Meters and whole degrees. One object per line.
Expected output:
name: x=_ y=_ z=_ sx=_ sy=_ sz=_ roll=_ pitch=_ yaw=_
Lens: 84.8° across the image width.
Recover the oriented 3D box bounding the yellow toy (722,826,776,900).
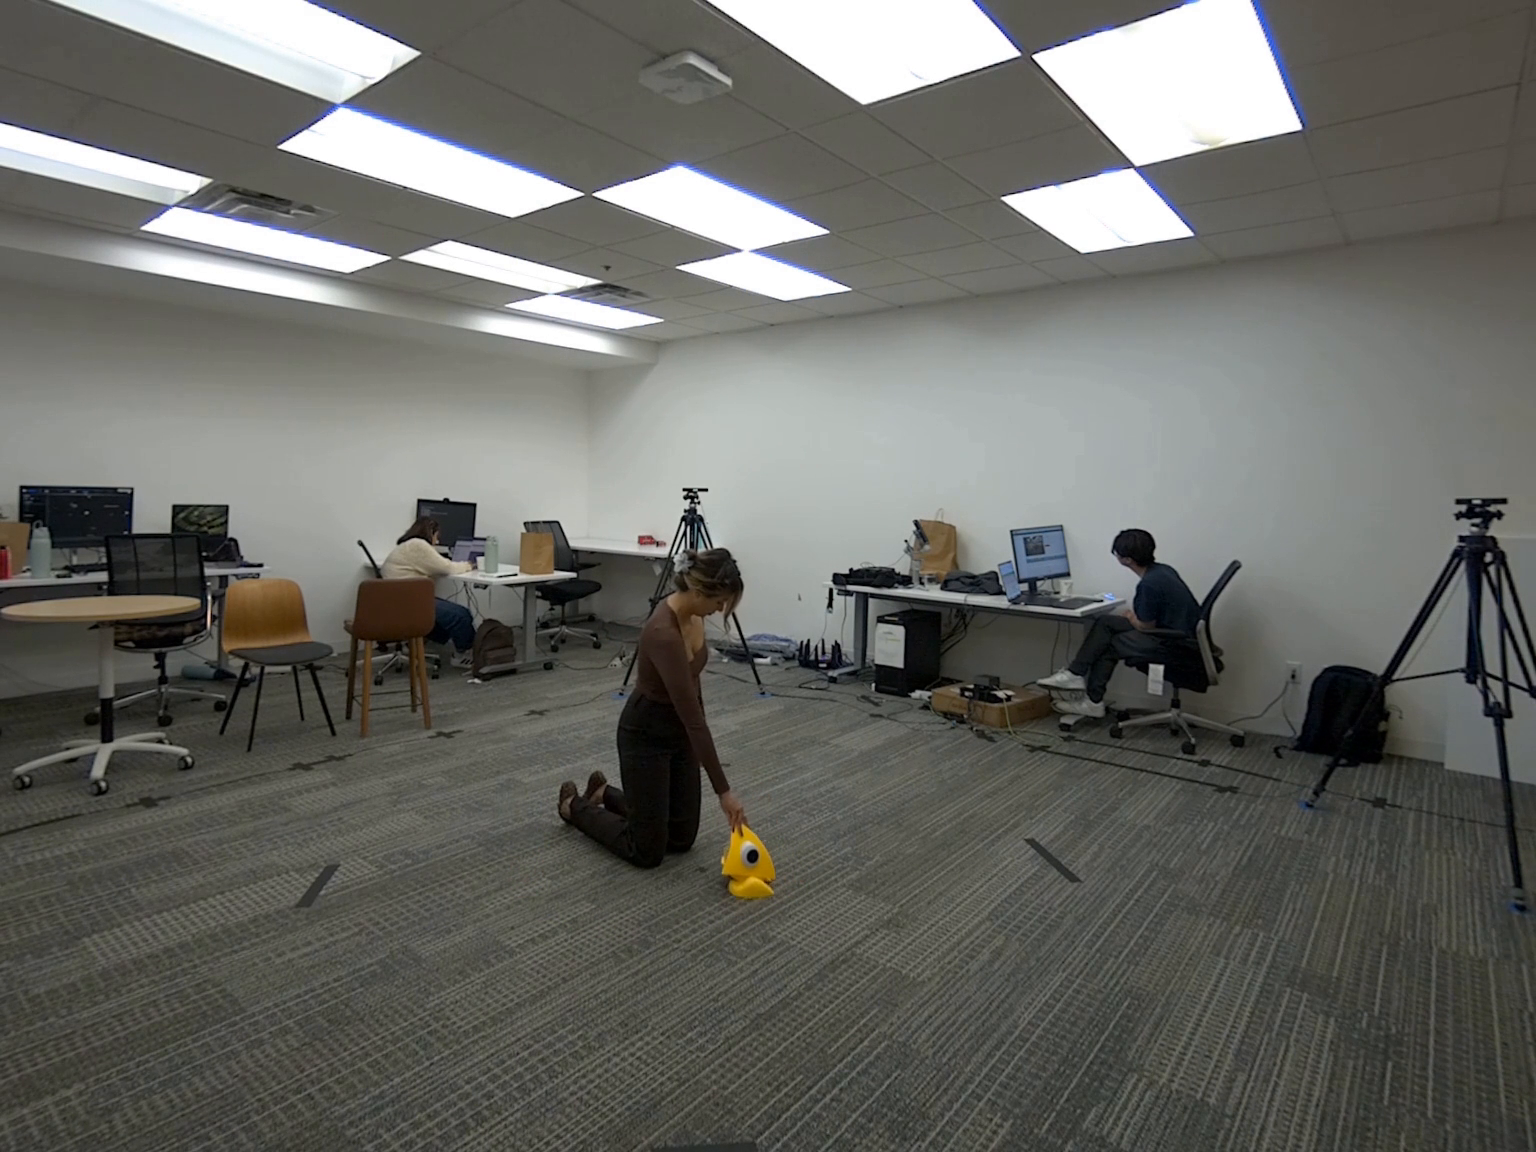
yellow toy: x=-0.075 y=0.968 z=2.988 sx=0.194 sy=0.230 sz=0.205 roll=-1 pitch=3 yaw=2
